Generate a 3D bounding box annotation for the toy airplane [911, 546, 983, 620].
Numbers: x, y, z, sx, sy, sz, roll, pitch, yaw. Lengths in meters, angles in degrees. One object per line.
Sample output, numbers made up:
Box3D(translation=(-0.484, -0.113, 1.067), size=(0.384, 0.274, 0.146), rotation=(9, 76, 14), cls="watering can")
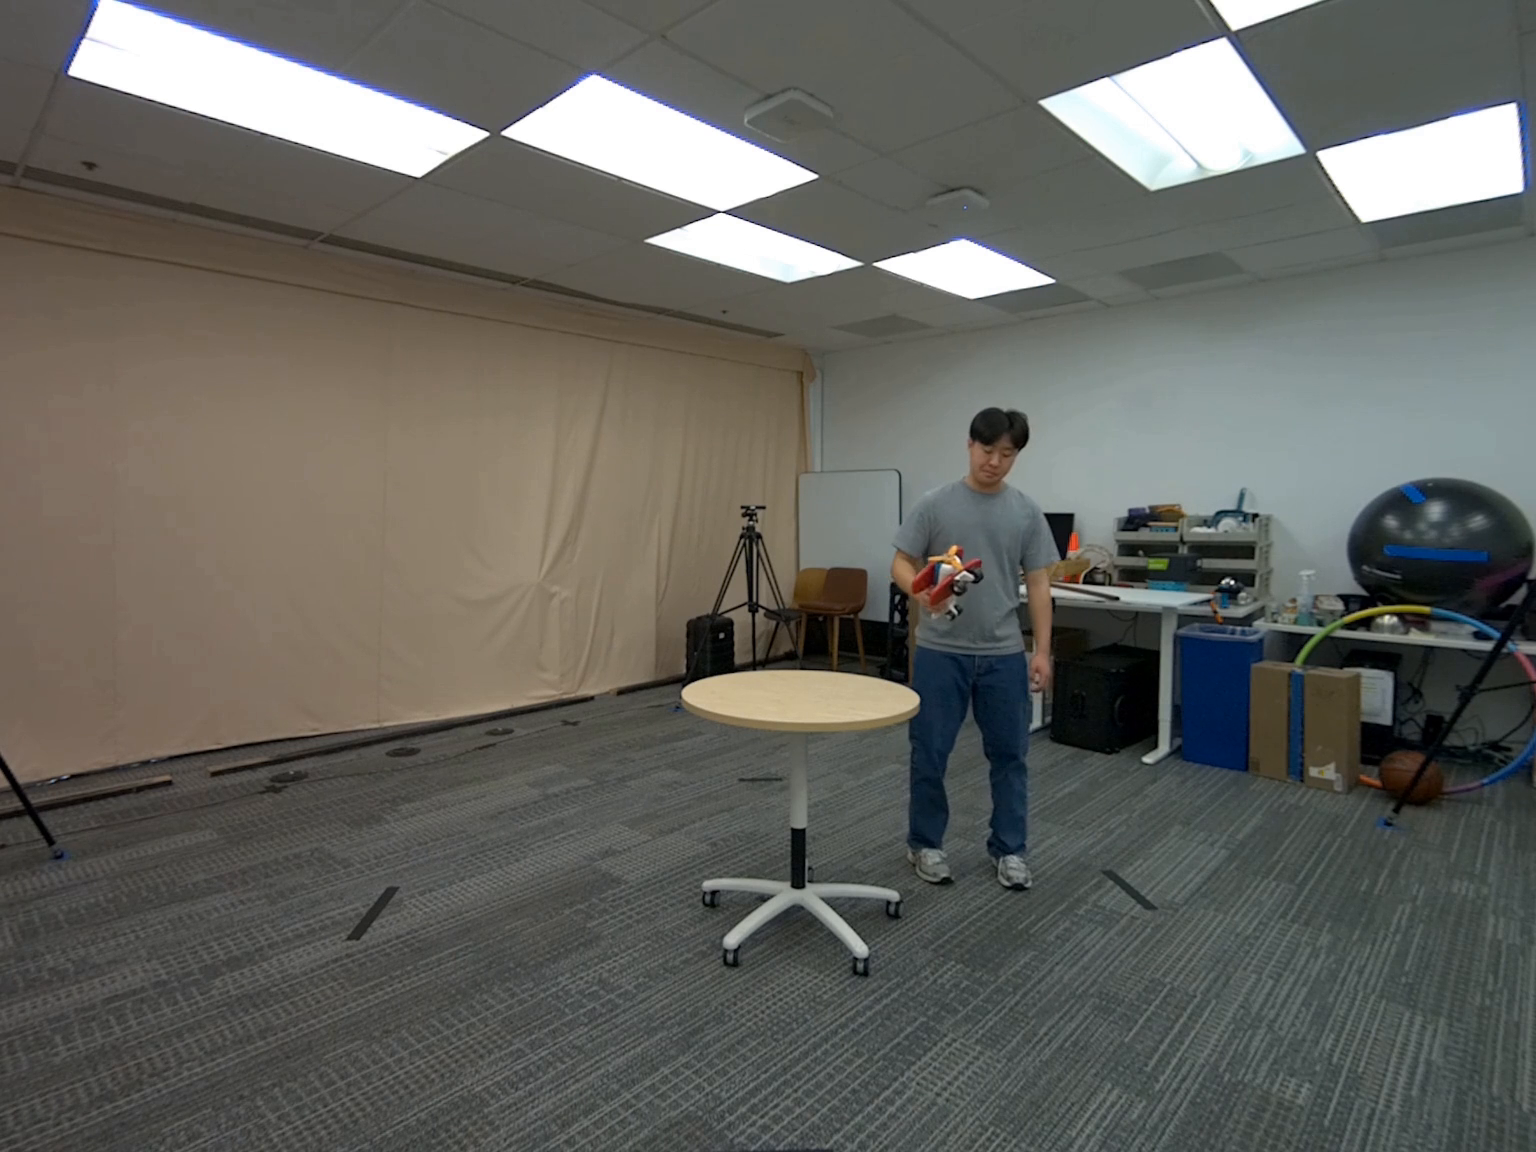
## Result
Box3D(translation=(0.602, 0.048, 2.854), size=(0.244, 0.259, 0.161), rotation=(-12, 51, -49), cls="toy airplane")
